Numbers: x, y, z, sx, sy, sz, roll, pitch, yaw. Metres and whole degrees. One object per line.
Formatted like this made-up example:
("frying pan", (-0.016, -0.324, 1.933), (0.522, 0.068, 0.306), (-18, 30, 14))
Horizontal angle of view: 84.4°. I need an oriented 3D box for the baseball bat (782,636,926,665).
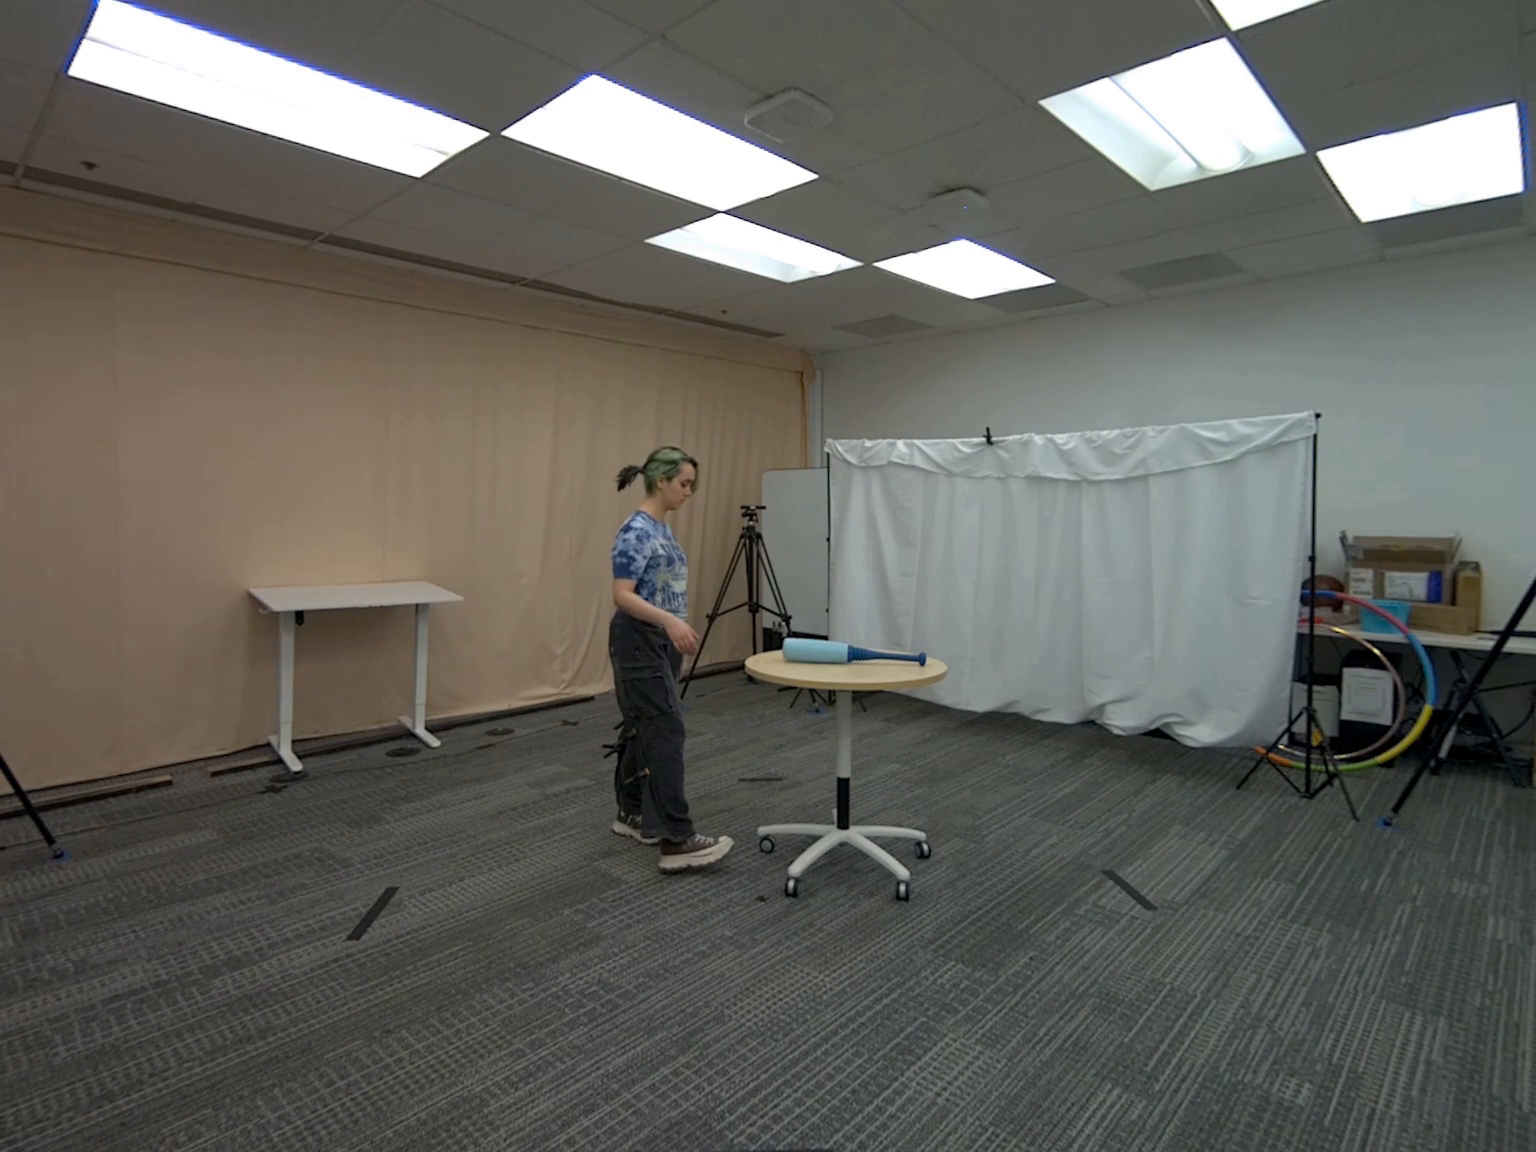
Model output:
("baseball bat", (0.336, 0.303, 3.226), (0.548, 0.089, 0.088), (4, 4, 8))
